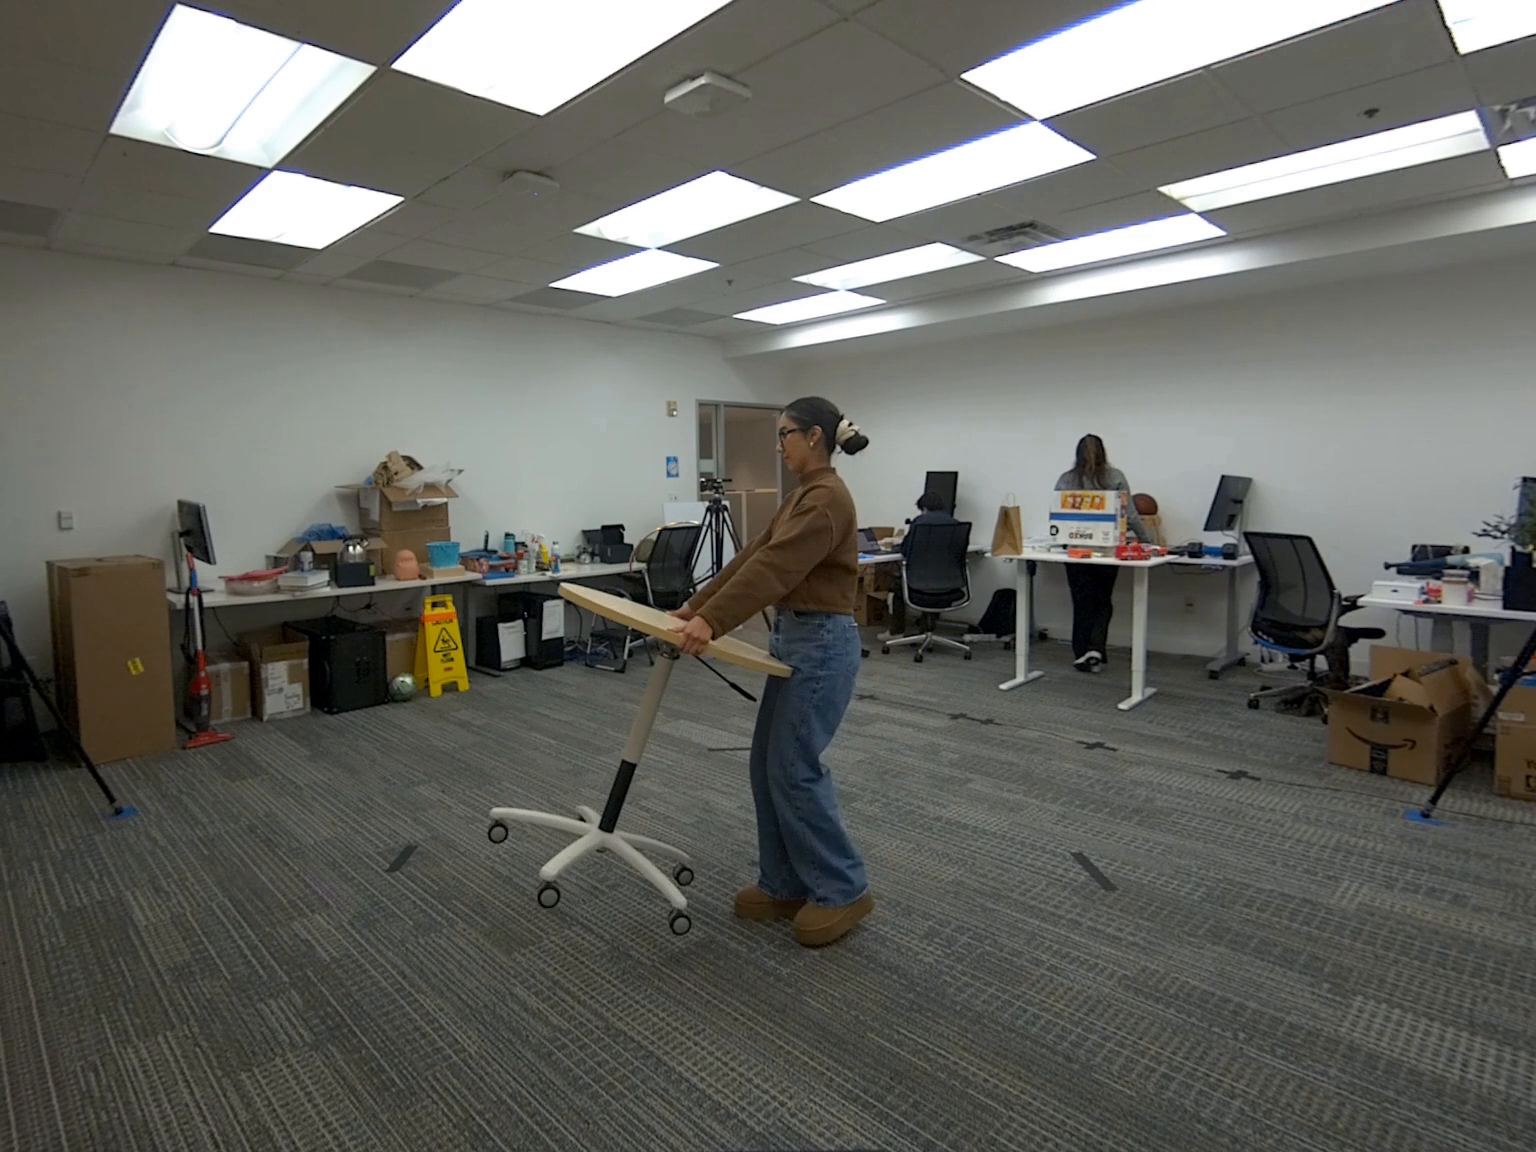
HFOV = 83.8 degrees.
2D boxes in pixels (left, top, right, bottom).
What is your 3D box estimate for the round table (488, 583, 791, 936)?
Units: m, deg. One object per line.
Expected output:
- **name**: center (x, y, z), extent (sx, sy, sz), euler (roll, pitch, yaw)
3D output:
- **round table**: center (-0.408, 0.528, 2.608), extent (0.785, 0.788, 0.784), euler (19, -2, -1)
